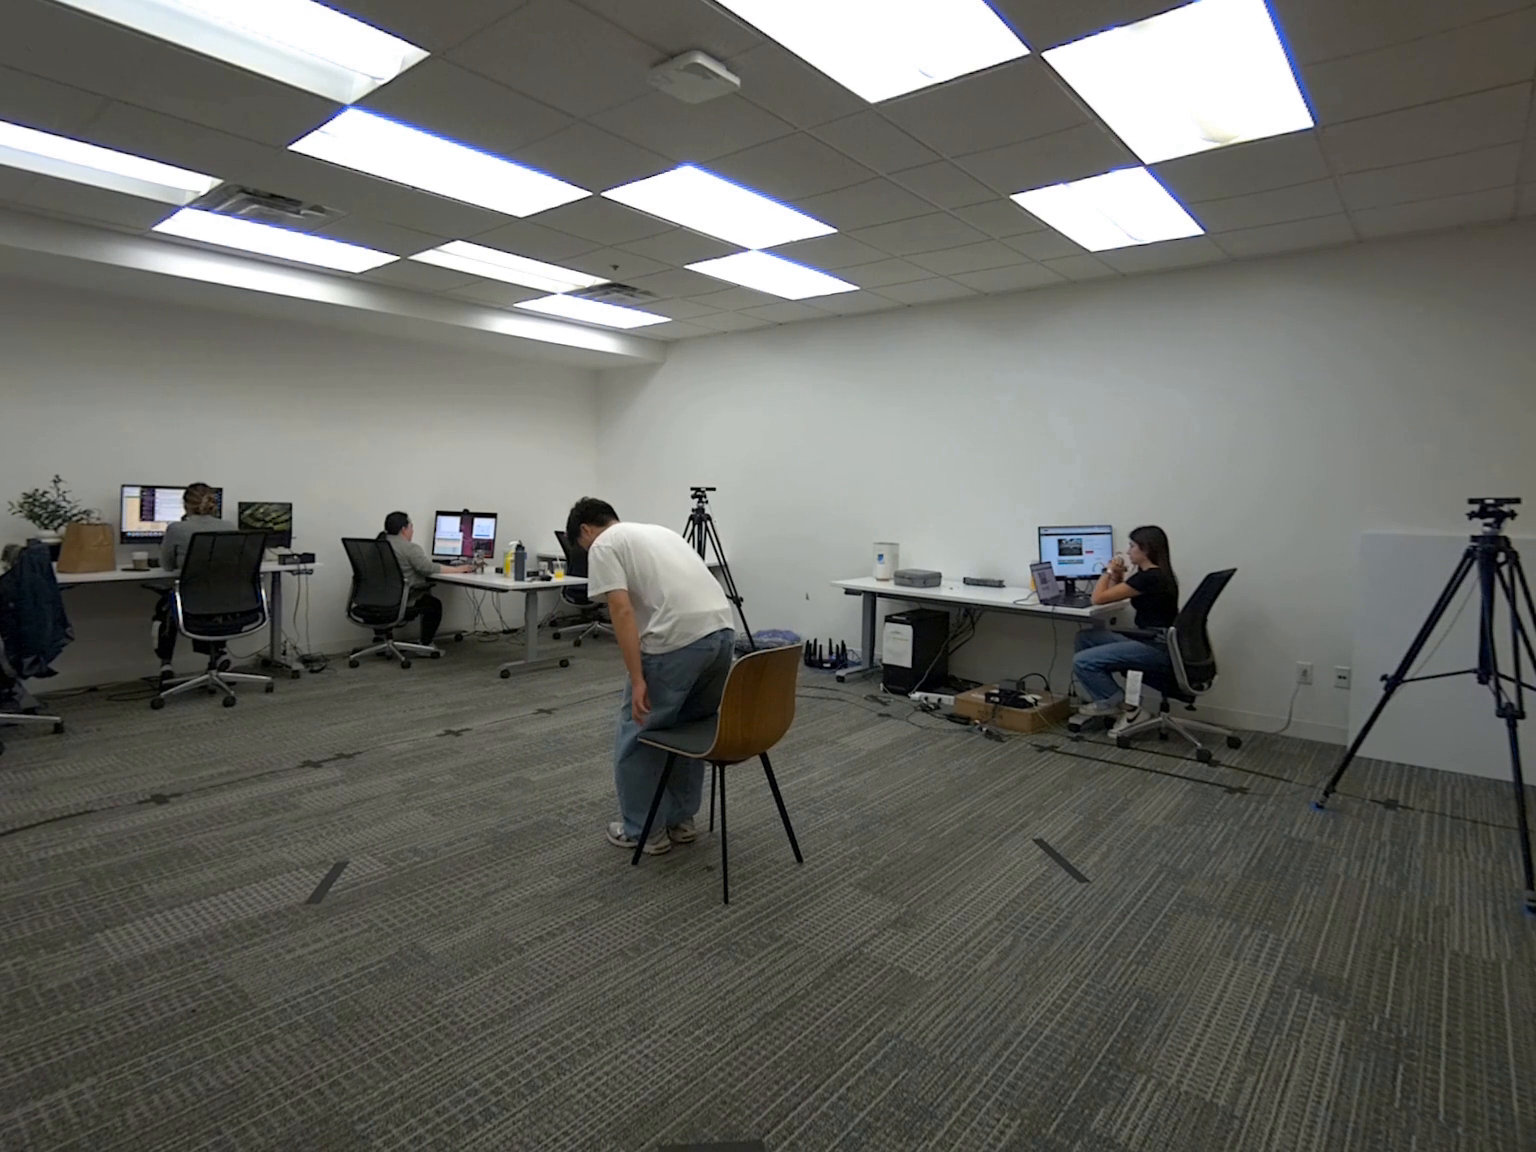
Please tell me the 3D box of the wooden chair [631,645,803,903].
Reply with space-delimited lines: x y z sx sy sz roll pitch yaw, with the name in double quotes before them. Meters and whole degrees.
"wooden chair" -0.186 0.642 3.123 0.542 0.873 0.464 9 7 38
